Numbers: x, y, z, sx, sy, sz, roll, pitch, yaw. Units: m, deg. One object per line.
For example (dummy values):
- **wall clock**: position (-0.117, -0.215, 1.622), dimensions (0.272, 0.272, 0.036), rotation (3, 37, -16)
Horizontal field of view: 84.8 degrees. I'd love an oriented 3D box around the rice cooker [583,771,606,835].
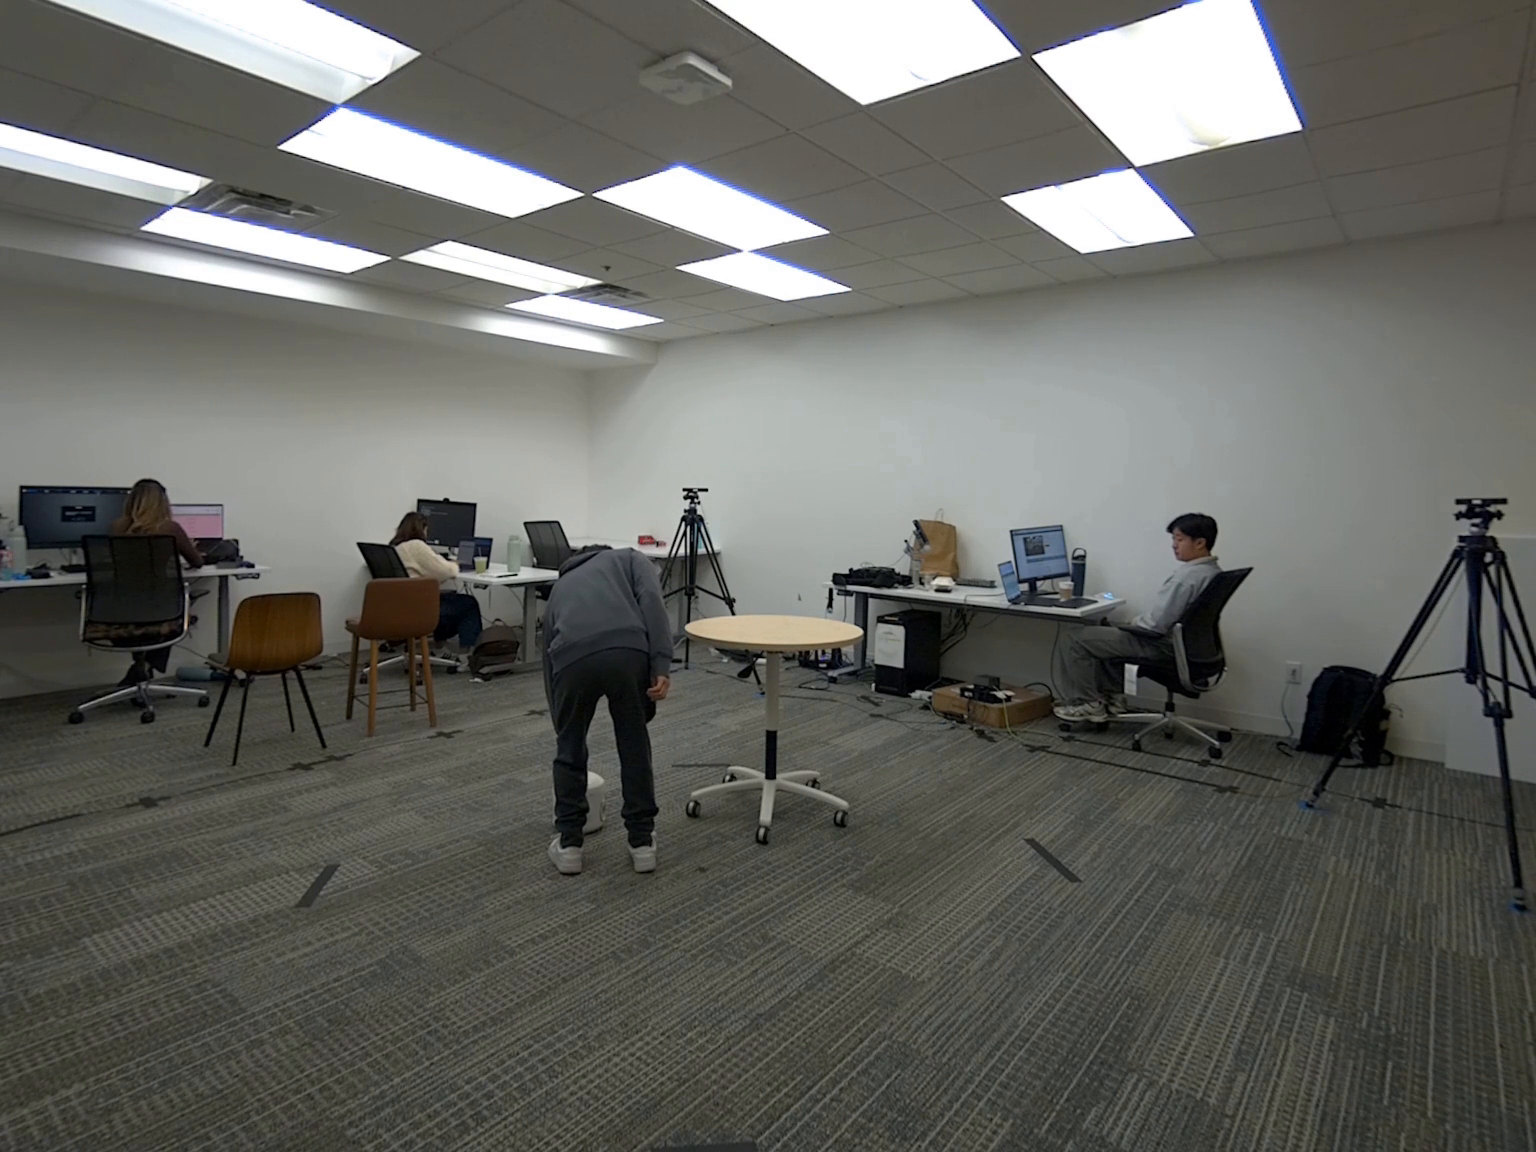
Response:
- **rice cooker**: position (-0.776, 0.903, 3.477), dimensions (0.221, 0.232, 0.218), rotation (2, 4, 13)
